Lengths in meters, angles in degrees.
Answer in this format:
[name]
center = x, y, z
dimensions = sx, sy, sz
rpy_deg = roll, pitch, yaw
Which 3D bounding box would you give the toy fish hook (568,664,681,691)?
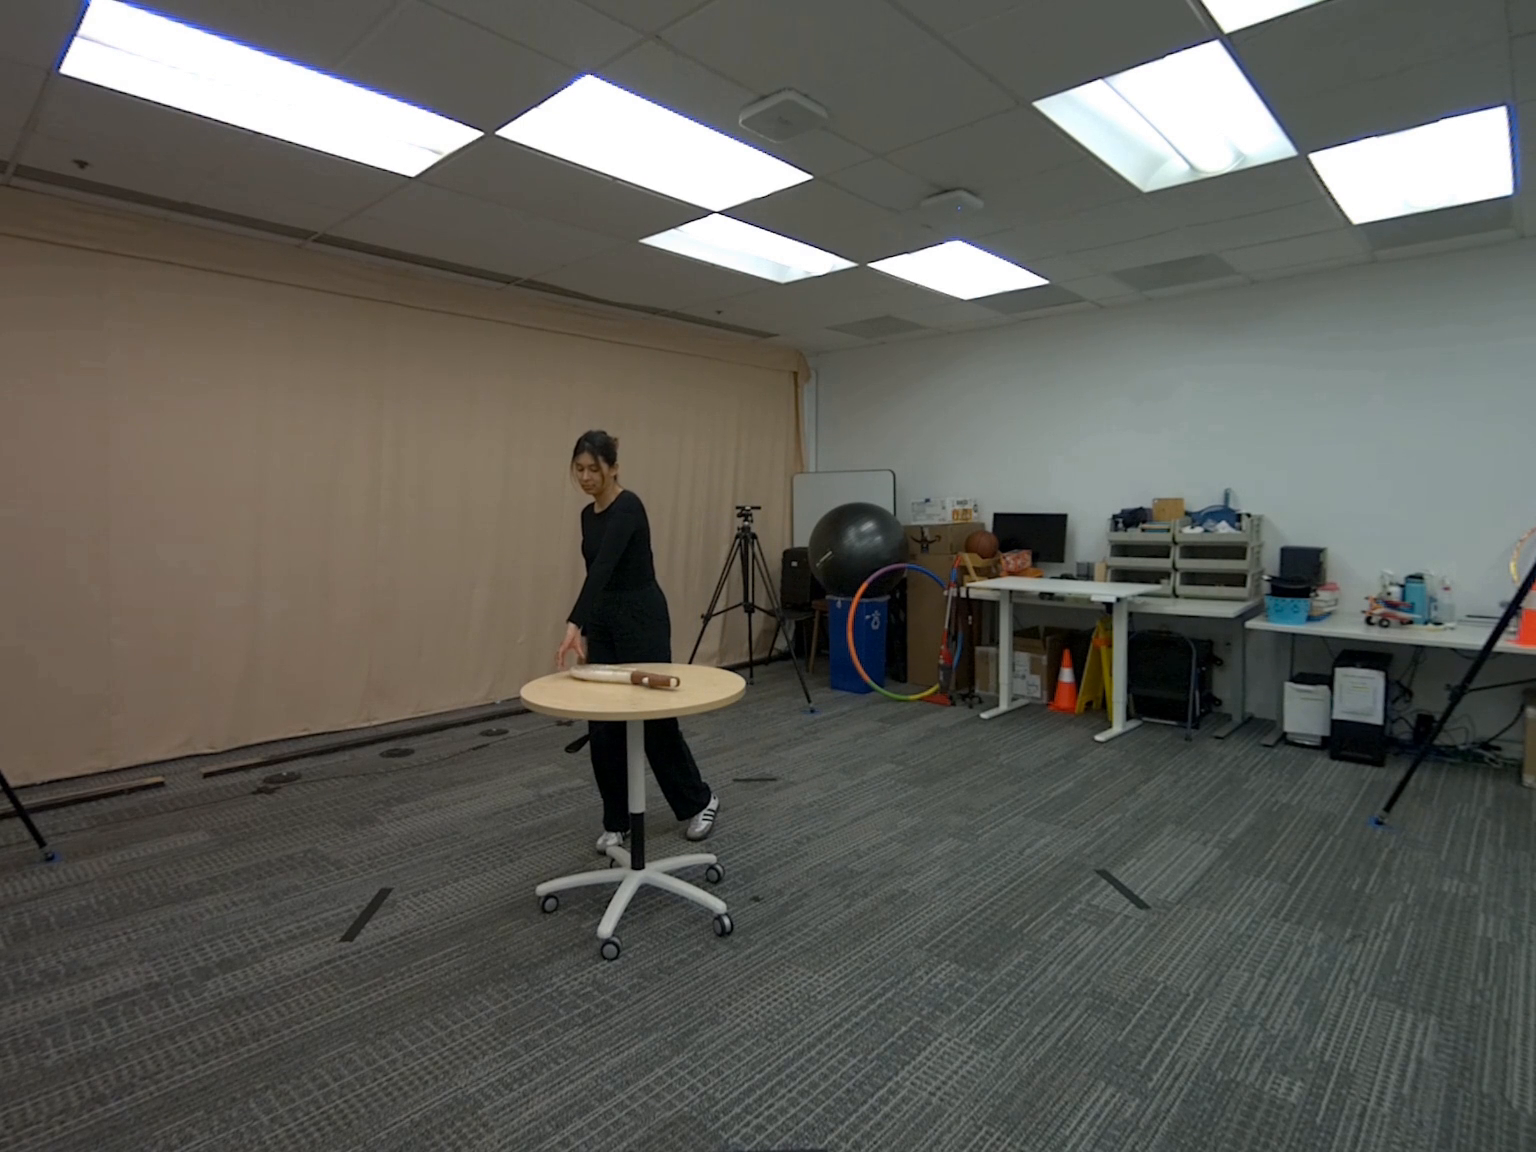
[toy fish hook]
center = -0.479, 0.345, 2.958
dimensions = 0.522, 0.048, 0.218
rpy_deg = 1, 5, 34
